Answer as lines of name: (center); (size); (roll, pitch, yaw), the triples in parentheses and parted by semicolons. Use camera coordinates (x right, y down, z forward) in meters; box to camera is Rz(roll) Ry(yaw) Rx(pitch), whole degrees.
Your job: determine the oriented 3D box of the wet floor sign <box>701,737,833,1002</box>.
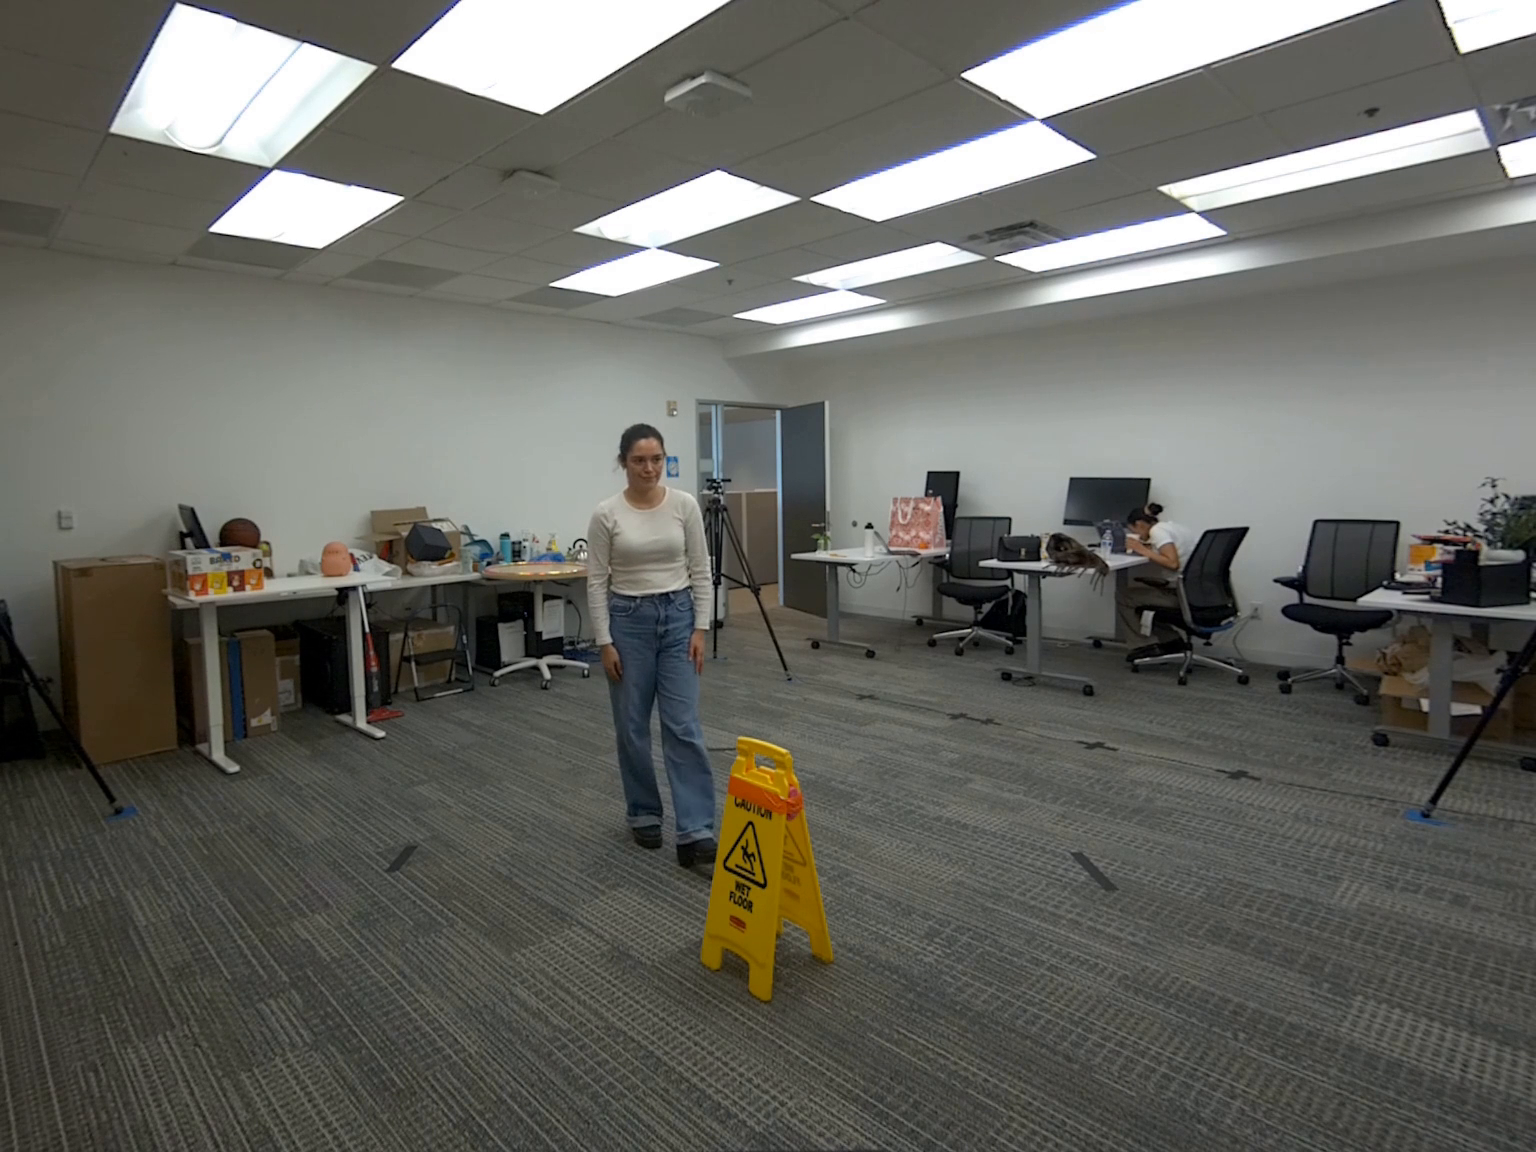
wet floor sign: (0.000, 0.795, 2.454); (0.282, 0.643, 0.291); (-4, 6, -44)
